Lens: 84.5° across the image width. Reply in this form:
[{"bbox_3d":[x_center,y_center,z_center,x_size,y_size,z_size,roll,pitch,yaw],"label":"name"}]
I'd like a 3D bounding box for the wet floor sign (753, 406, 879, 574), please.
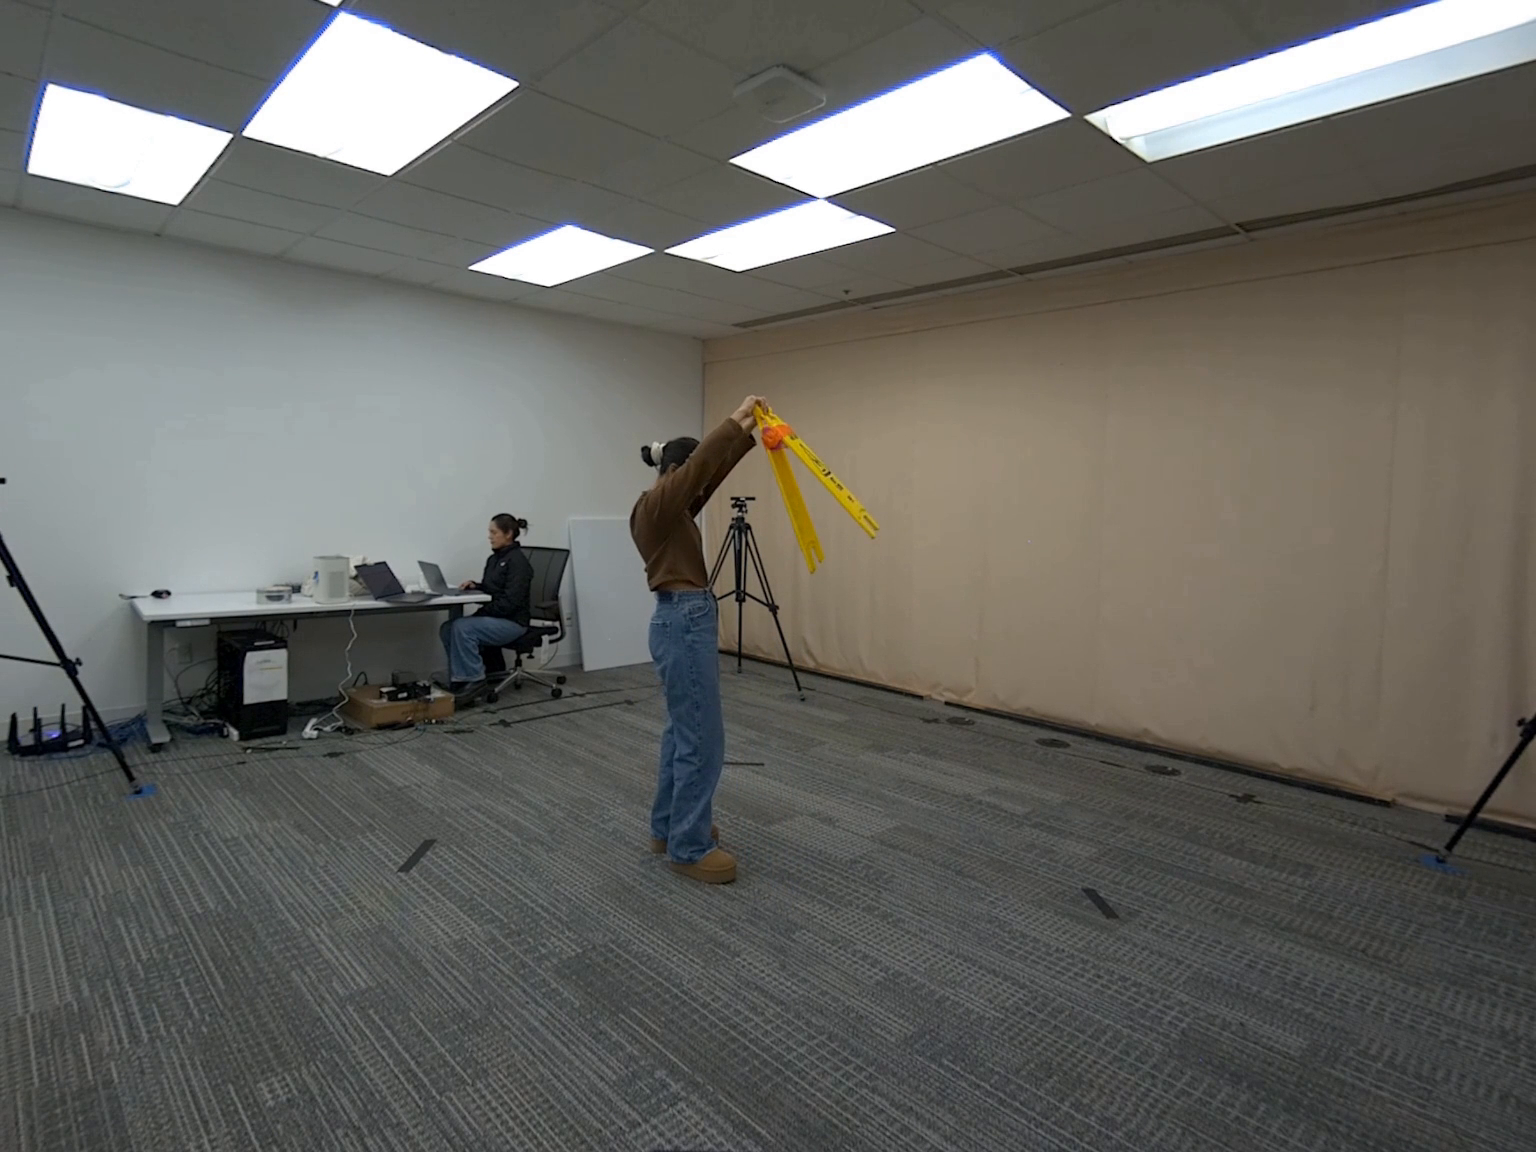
[{"bbox_3d":[0.131,-0.369,3.179,0.291,0.643,0.282,-29,5,15],"label":"wet floor sign"}]
